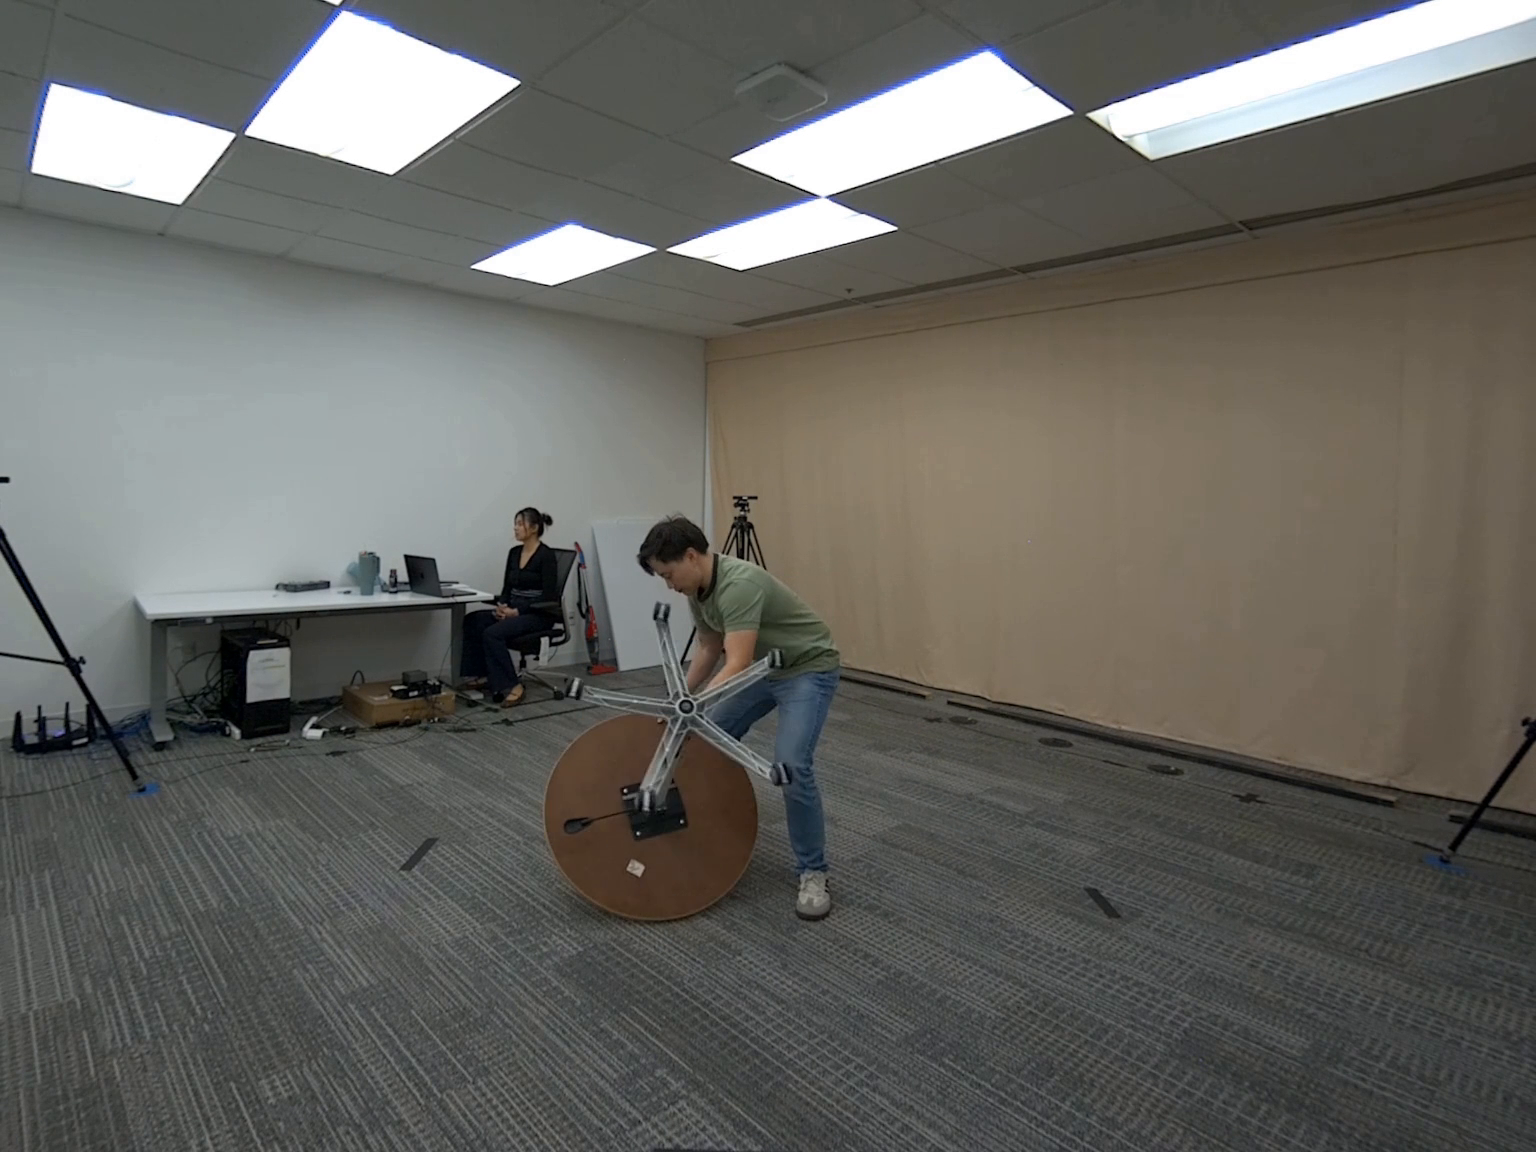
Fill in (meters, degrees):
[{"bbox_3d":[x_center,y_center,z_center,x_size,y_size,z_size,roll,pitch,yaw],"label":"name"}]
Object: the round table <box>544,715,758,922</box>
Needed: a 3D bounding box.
[{"bbox_3d":[-0.317,0.589,2.718,0.757,0.781,0.783,8,-43,-11],"label":"round table"}]
